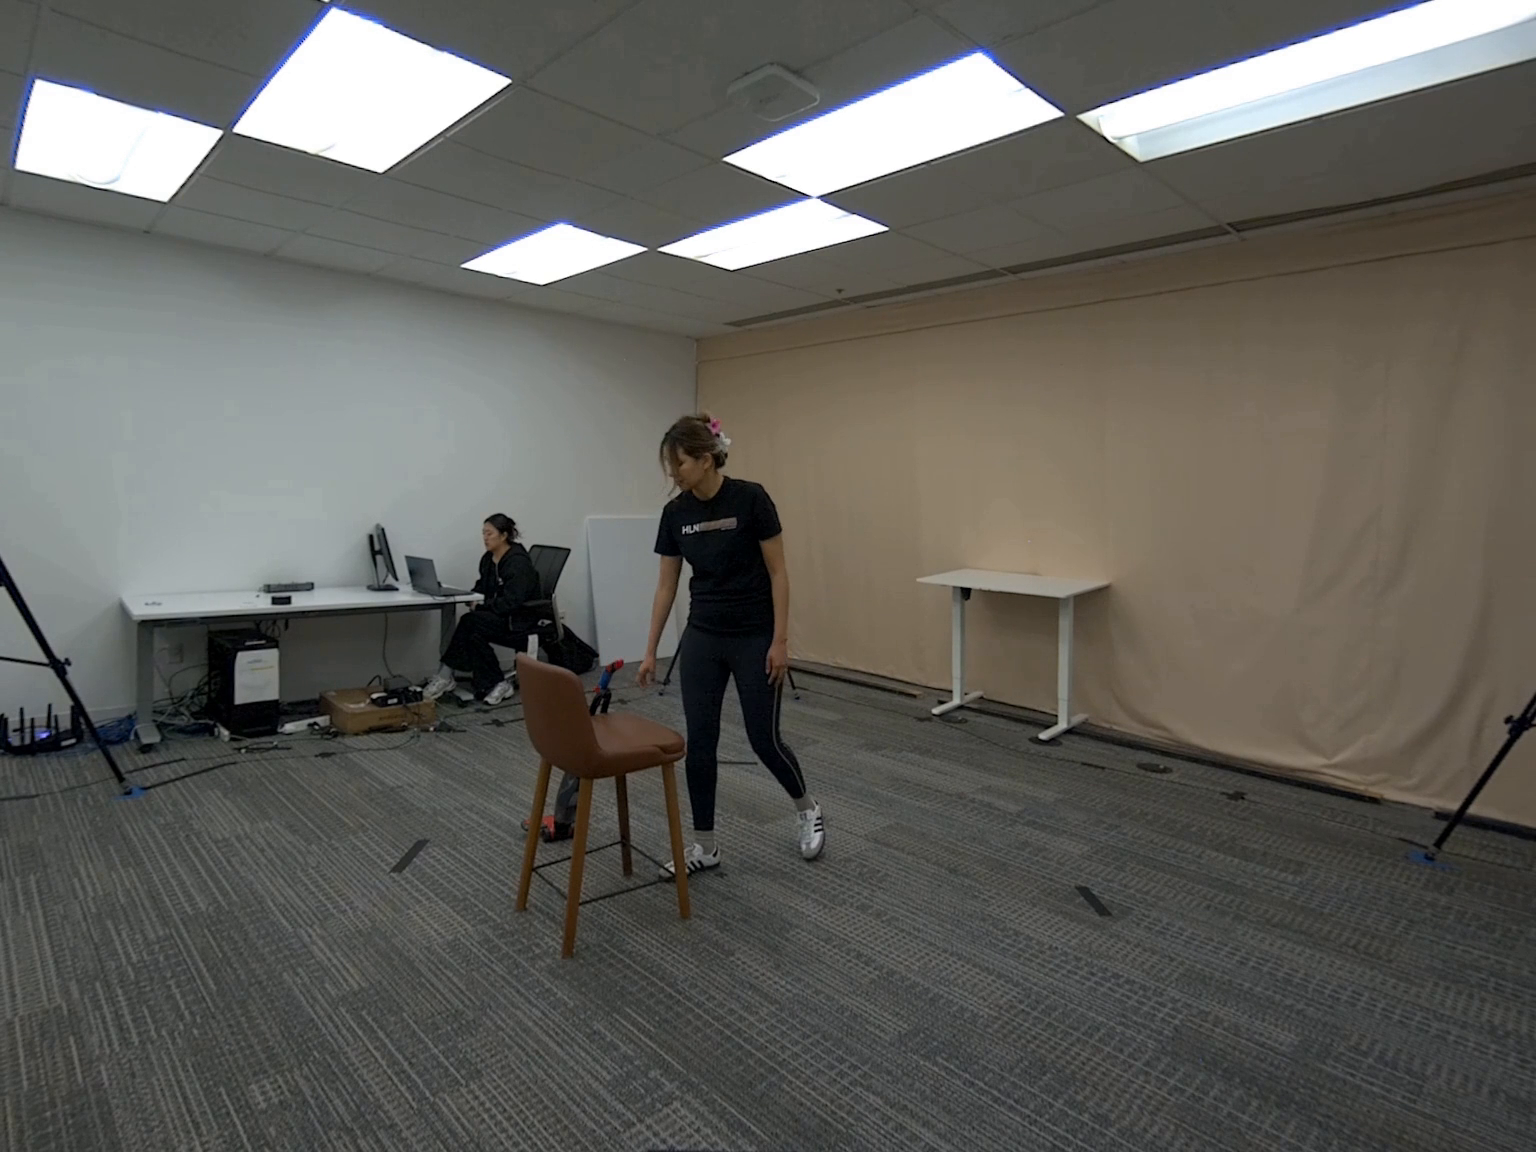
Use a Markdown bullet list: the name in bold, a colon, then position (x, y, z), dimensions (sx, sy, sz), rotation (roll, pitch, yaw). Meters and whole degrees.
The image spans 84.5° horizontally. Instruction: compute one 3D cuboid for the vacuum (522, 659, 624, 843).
- **vacuum**: position (-0.693, 0.668, 3.137), dimensions (0.247, 1.039, 0.148), rotation (-6, 47, -36)
